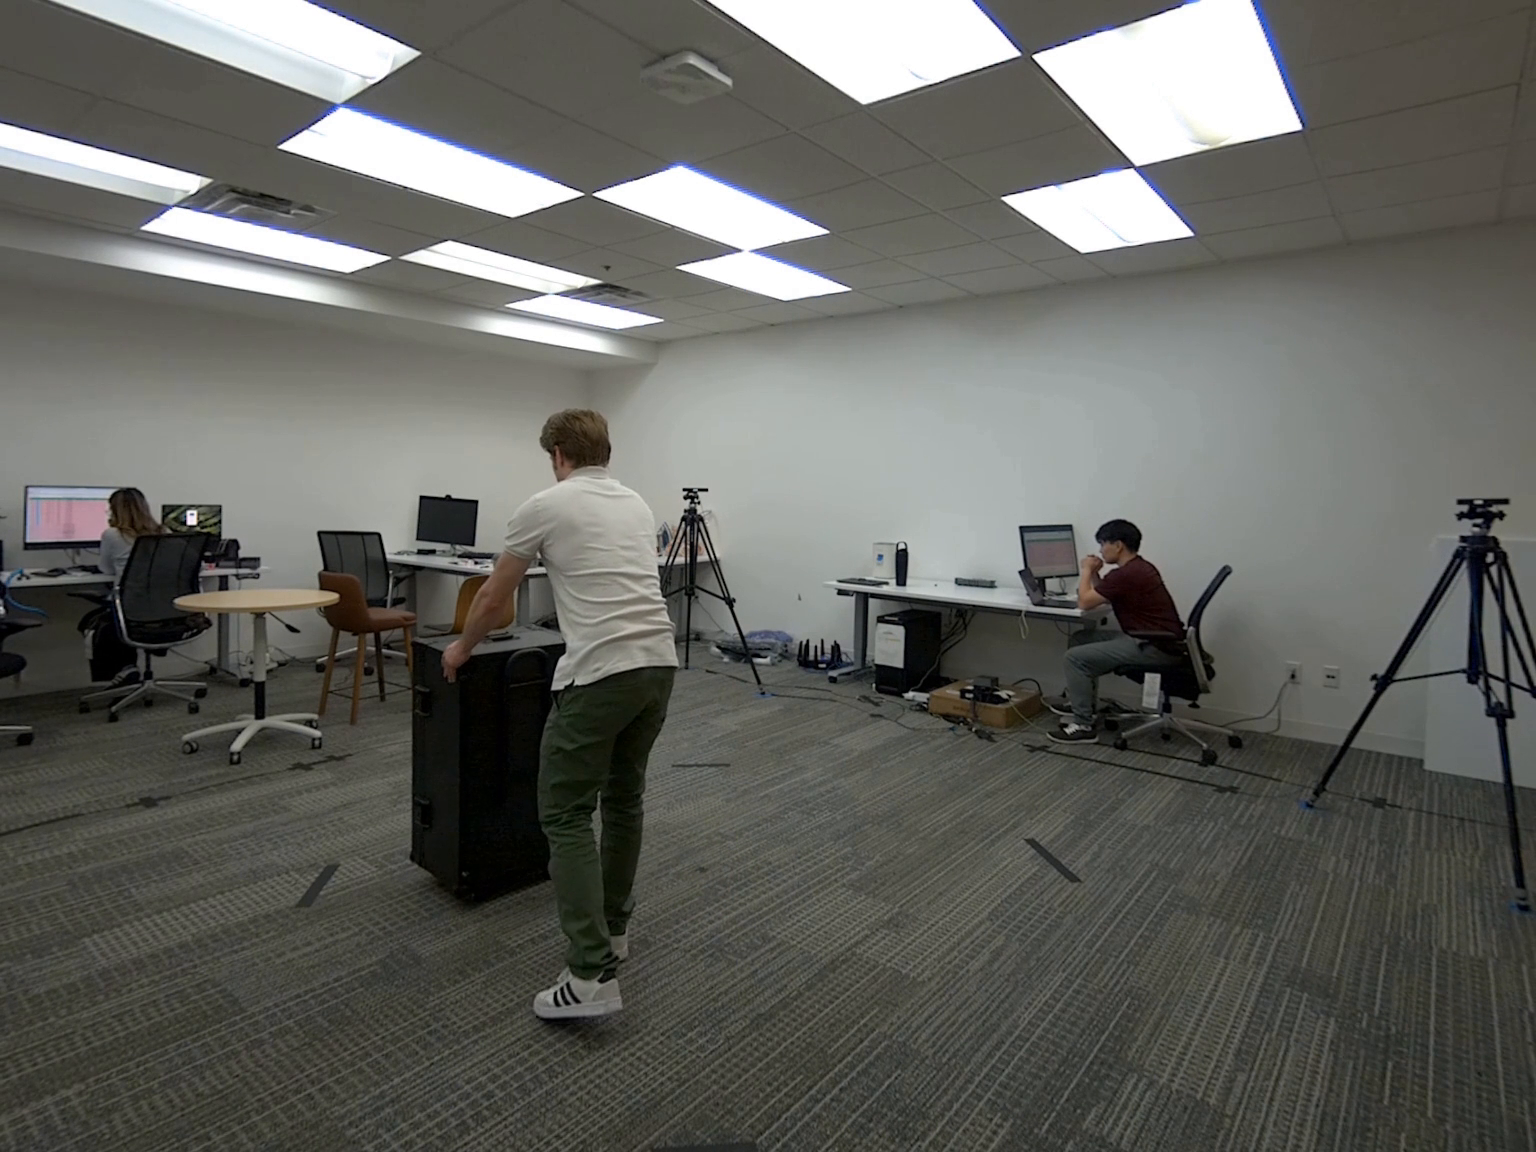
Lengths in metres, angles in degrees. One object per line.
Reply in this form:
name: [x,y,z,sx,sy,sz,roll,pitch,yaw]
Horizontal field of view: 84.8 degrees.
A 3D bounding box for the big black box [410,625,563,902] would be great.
big black box: [-0.952,0.646,2.989,0.410,0.858,0.505,7,6,44]
